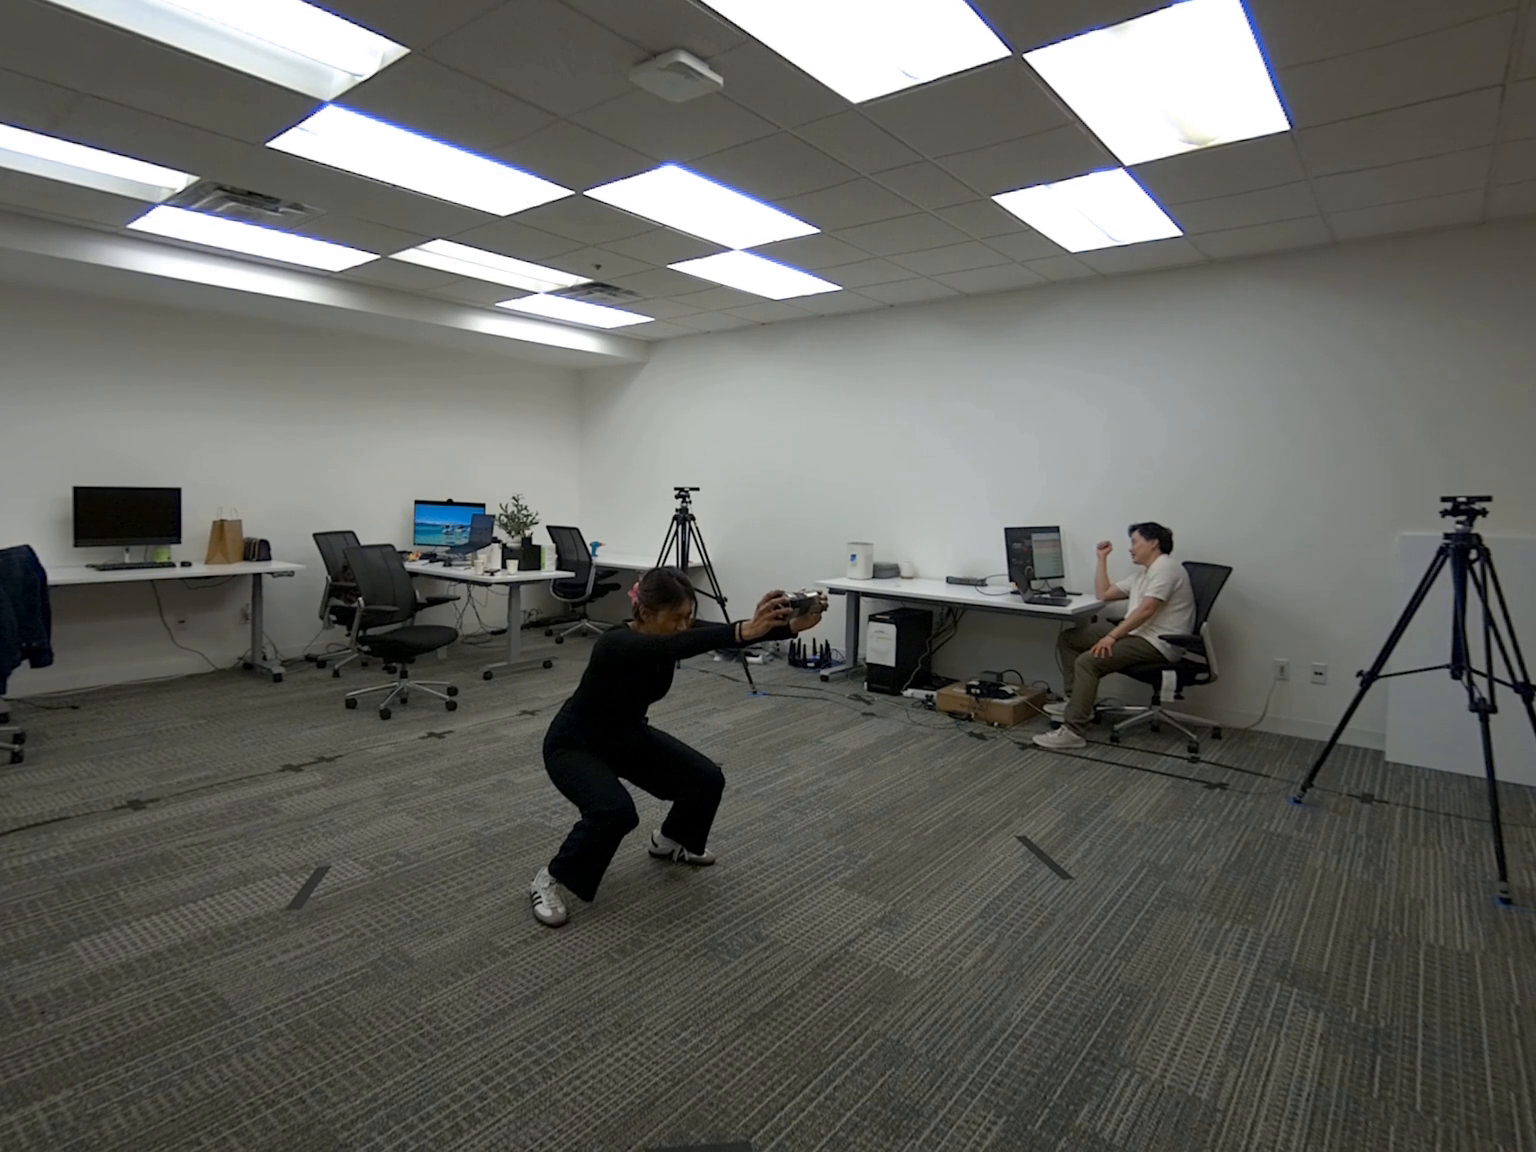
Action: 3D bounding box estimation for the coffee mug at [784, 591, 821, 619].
[{"bbox_3d":[0.082,0.086,2.424,0.197,0.087,0.126,-2,11,-45],"label":"coffee mug"}]
